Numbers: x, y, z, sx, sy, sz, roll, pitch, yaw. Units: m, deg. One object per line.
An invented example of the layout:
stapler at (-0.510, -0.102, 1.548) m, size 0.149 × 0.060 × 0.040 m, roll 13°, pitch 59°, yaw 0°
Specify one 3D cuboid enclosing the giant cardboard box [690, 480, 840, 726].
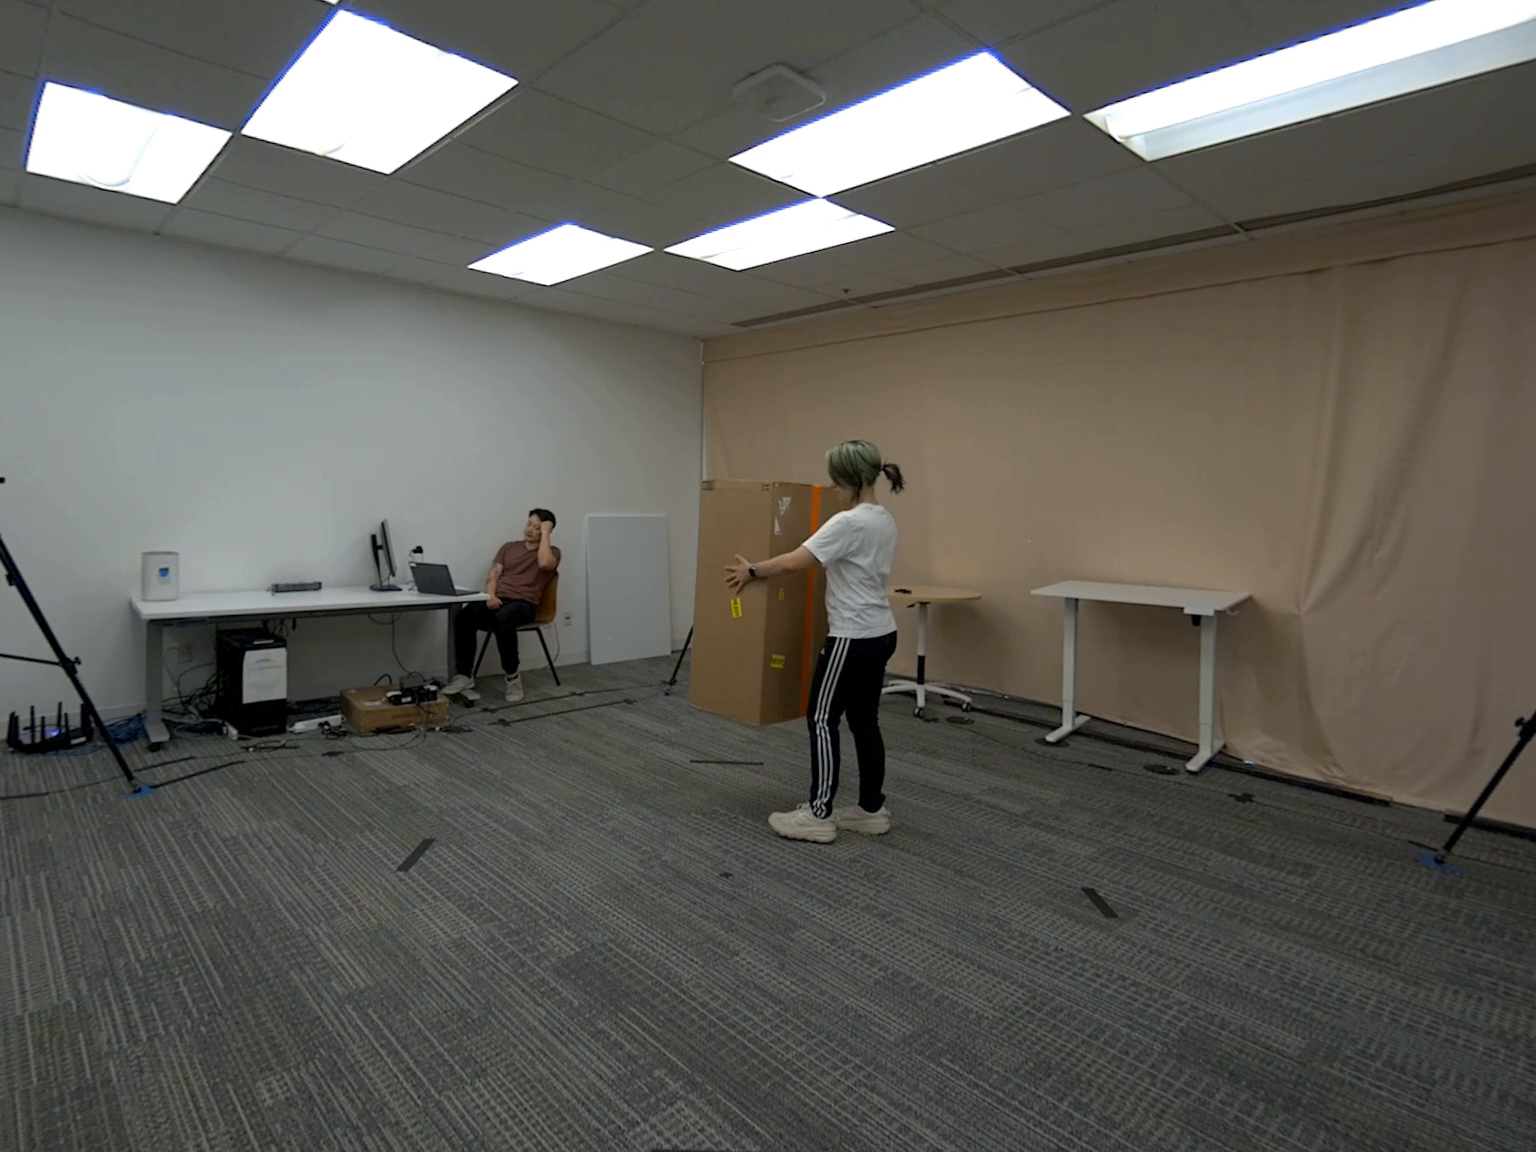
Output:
giant cardboard box at (0.011, 0.094, 3.816) m, size 0.437 × 1.024 × 0.564 m, roll 6°, pitch 4°, yaw 42°
